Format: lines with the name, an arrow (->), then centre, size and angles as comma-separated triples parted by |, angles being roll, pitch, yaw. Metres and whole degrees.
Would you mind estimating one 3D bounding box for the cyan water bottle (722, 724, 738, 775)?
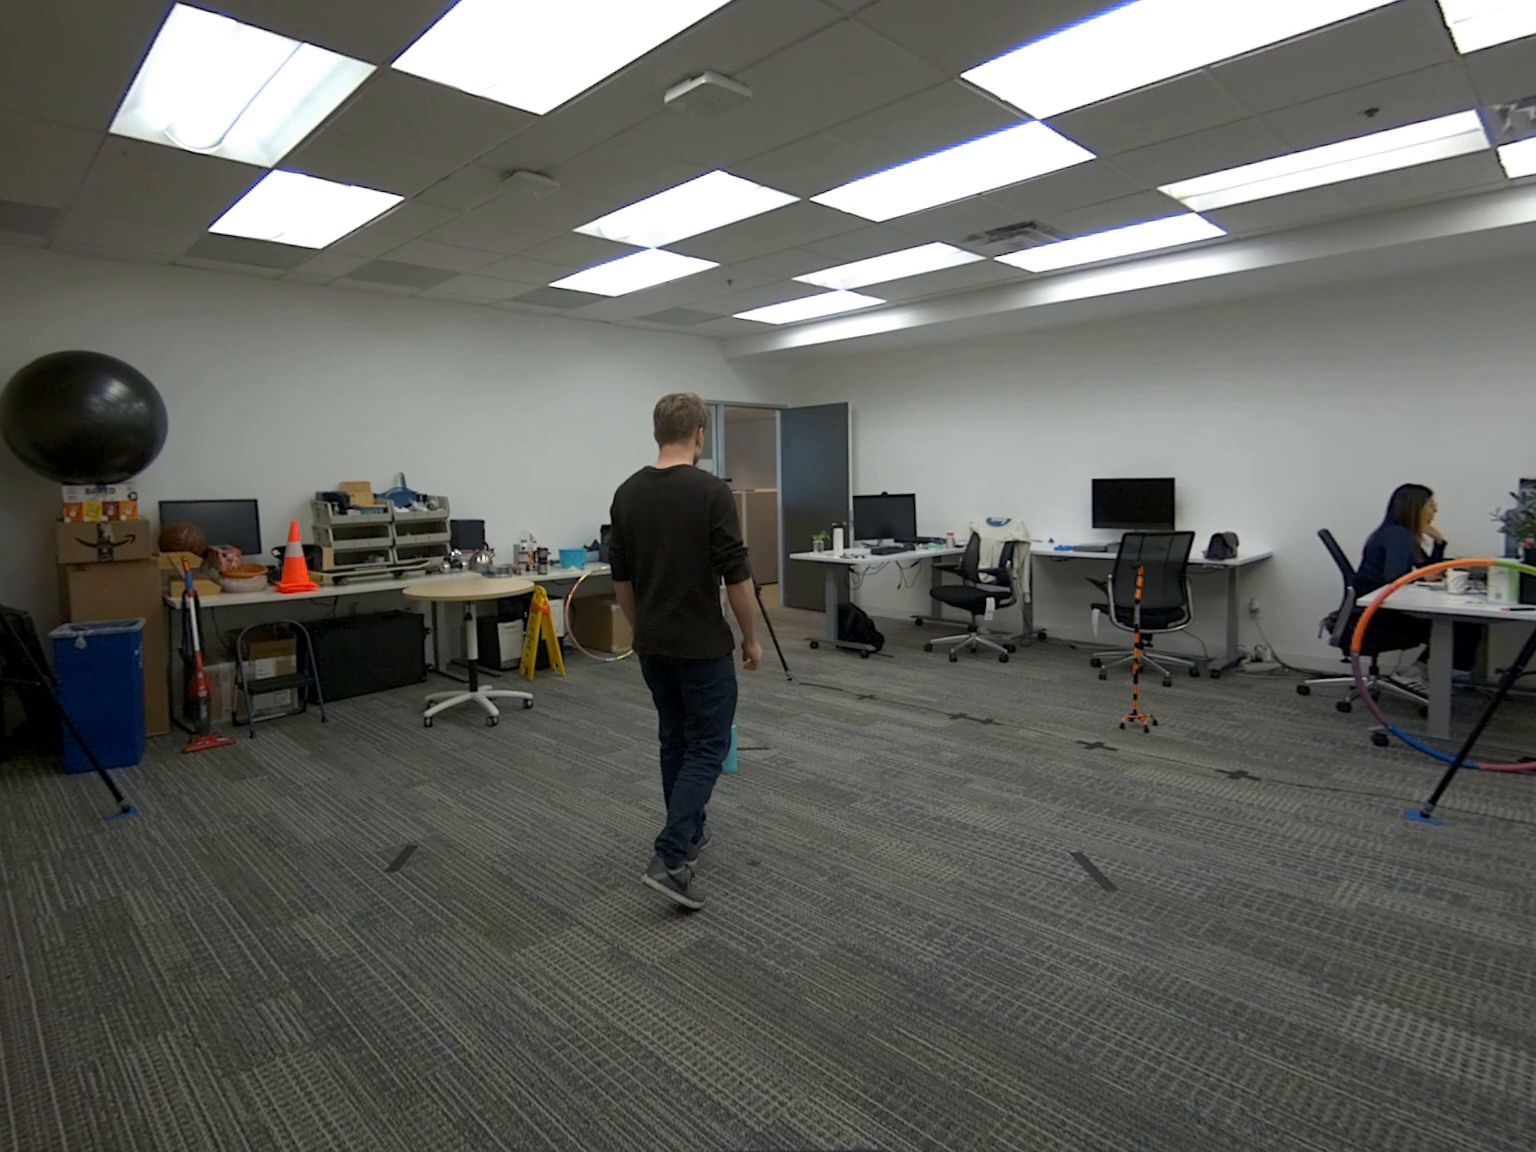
cyan water bottle -> -0.191, 0.798, 4.112 | 0.092, 0.283, 0.092 | -2, 2, -2
